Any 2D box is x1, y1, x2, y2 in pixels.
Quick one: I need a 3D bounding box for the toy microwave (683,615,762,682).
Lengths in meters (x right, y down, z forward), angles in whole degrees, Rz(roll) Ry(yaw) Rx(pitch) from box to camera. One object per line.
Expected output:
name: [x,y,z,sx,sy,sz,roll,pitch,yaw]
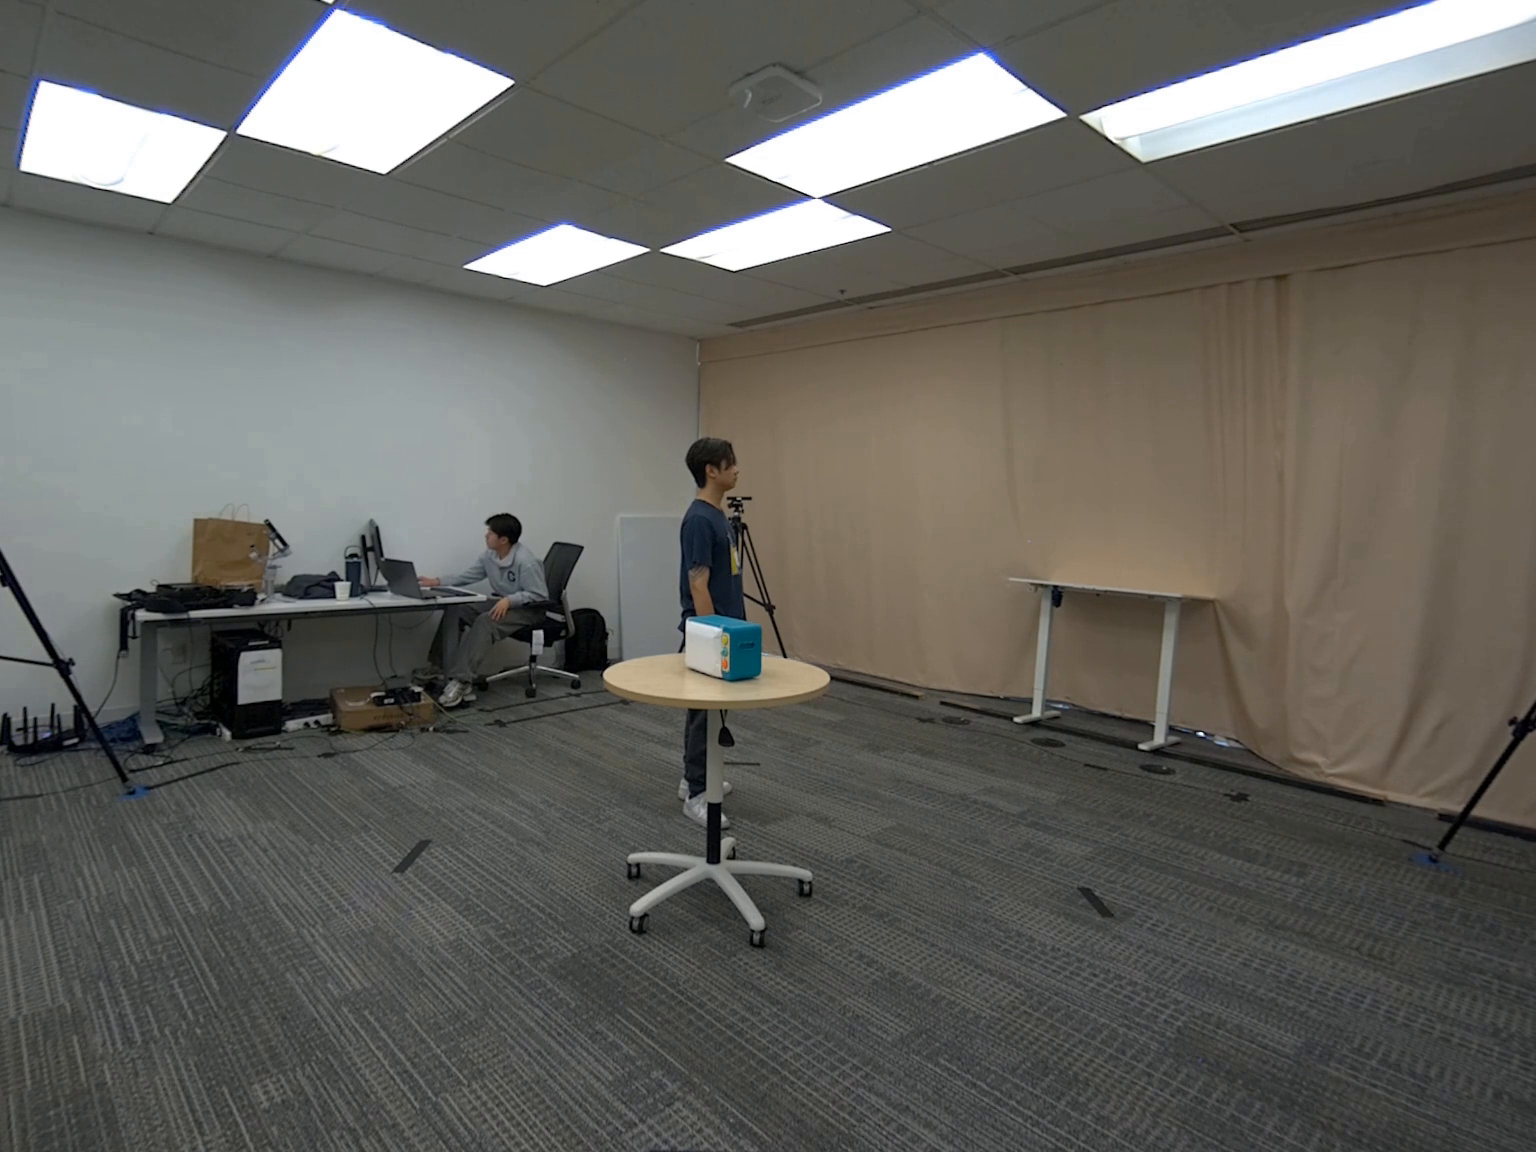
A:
toy microwave: [-0.167,0.245,2.837,0.149,0.183,0.293,-2,5,-37]
